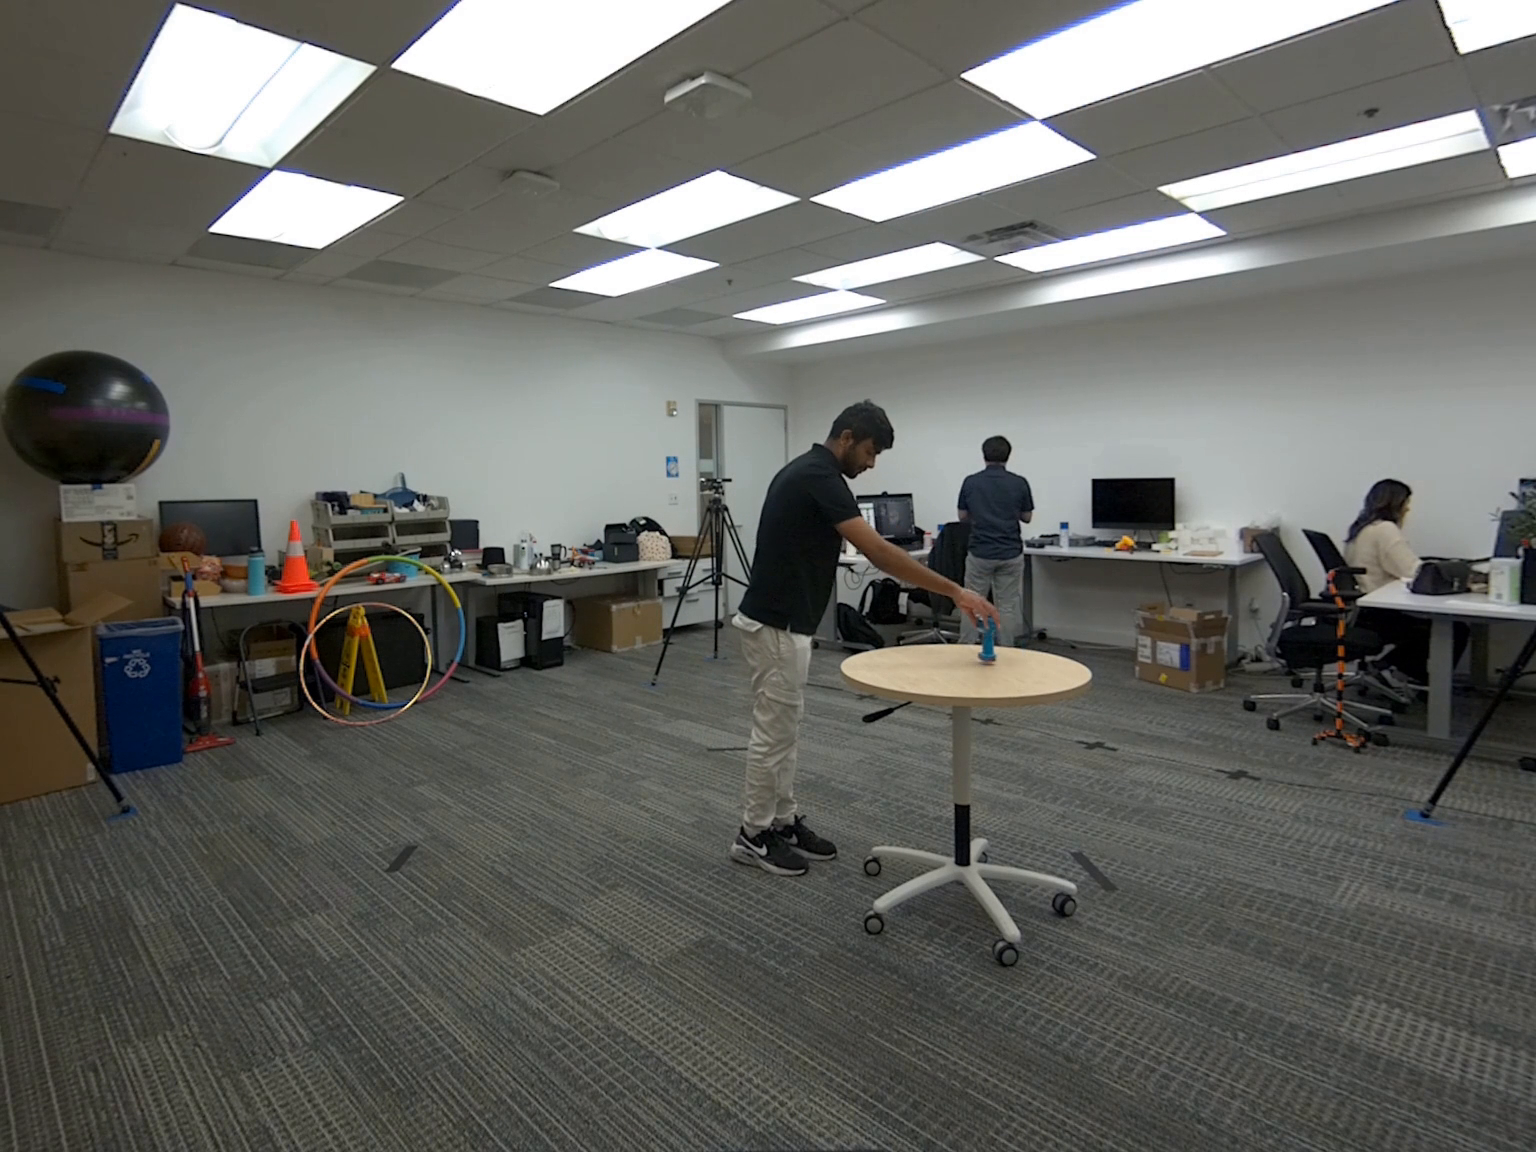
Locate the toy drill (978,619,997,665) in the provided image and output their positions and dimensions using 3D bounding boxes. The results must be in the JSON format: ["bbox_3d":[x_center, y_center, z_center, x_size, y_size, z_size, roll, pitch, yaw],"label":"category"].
[{"bbox_3d":[0.716,0.196,2.790,0.061,0.145,0.171,1,9,0],"label":"toy drill"}]
